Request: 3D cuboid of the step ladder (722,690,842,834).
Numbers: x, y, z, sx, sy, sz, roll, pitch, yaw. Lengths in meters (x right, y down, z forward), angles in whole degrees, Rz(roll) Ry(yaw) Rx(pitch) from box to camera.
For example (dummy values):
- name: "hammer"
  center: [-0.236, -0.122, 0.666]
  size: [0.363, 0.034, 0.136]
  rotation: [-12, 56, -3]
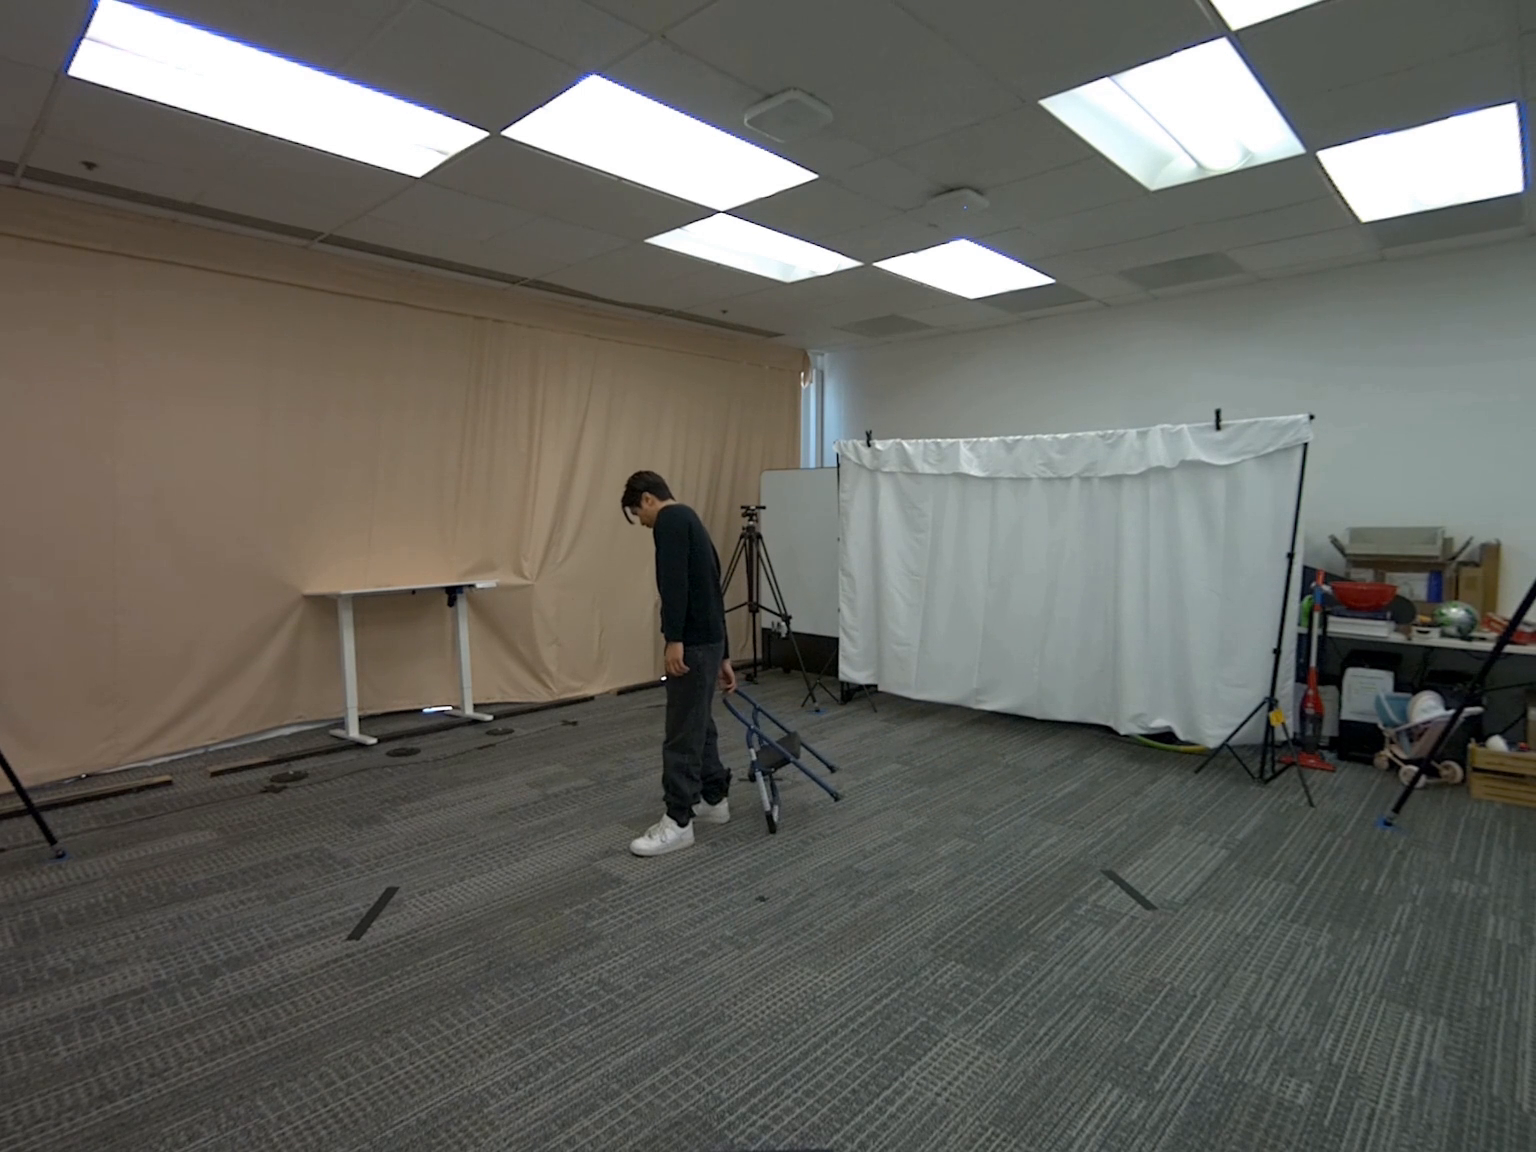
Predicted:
- name: "step ladder"
  center: [0.021, 0.741, 3.766]
  size: [0.350, 0.606, 0.429]
  rotation: [-30, 0, 4]
